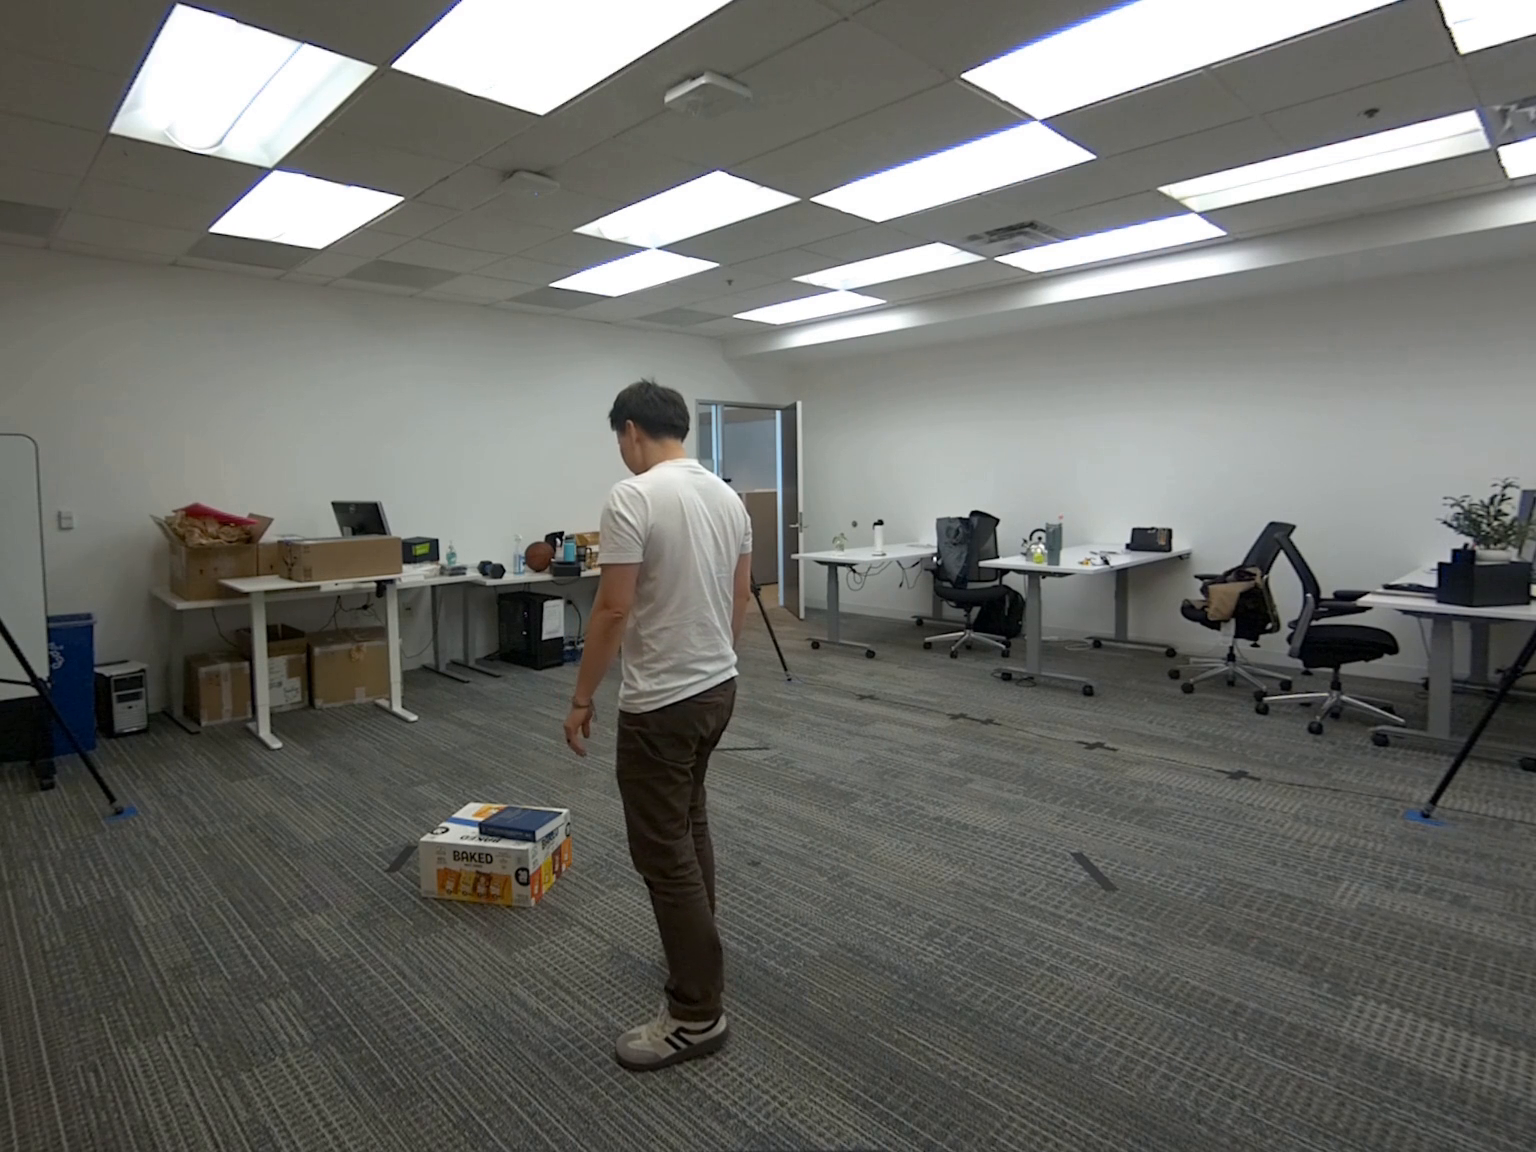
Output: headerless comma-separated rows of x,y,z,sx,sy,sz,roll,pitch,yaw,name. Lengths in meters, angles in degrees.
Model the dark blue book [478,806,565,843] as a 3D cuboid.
-0.860,0.860,2.966,0.250,0.045,0.161,-1,7,24,dark blue book
